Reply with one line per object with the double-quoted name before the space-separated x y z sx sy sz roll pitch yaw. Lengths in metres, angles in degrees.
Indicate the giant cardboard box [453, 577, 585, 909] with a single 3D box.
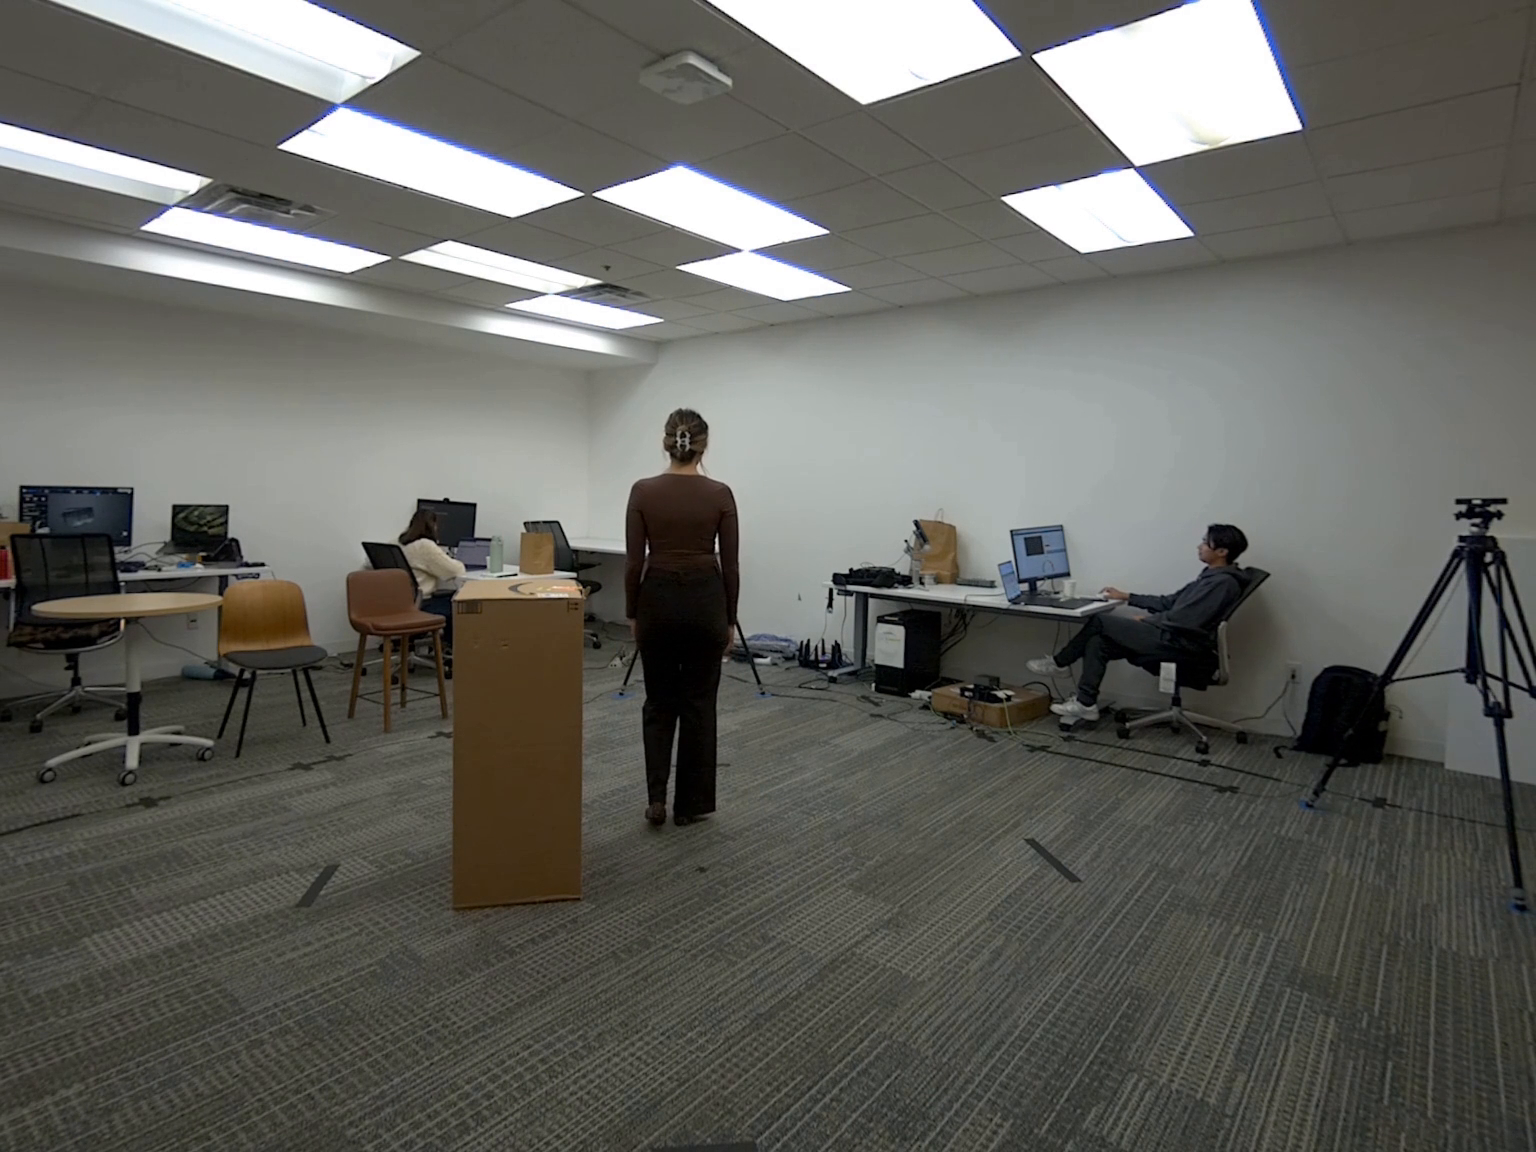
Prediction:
"giant cardboard box" -0.912 0.552 3.078 0.440 1.024 0.595 0 4 -16
